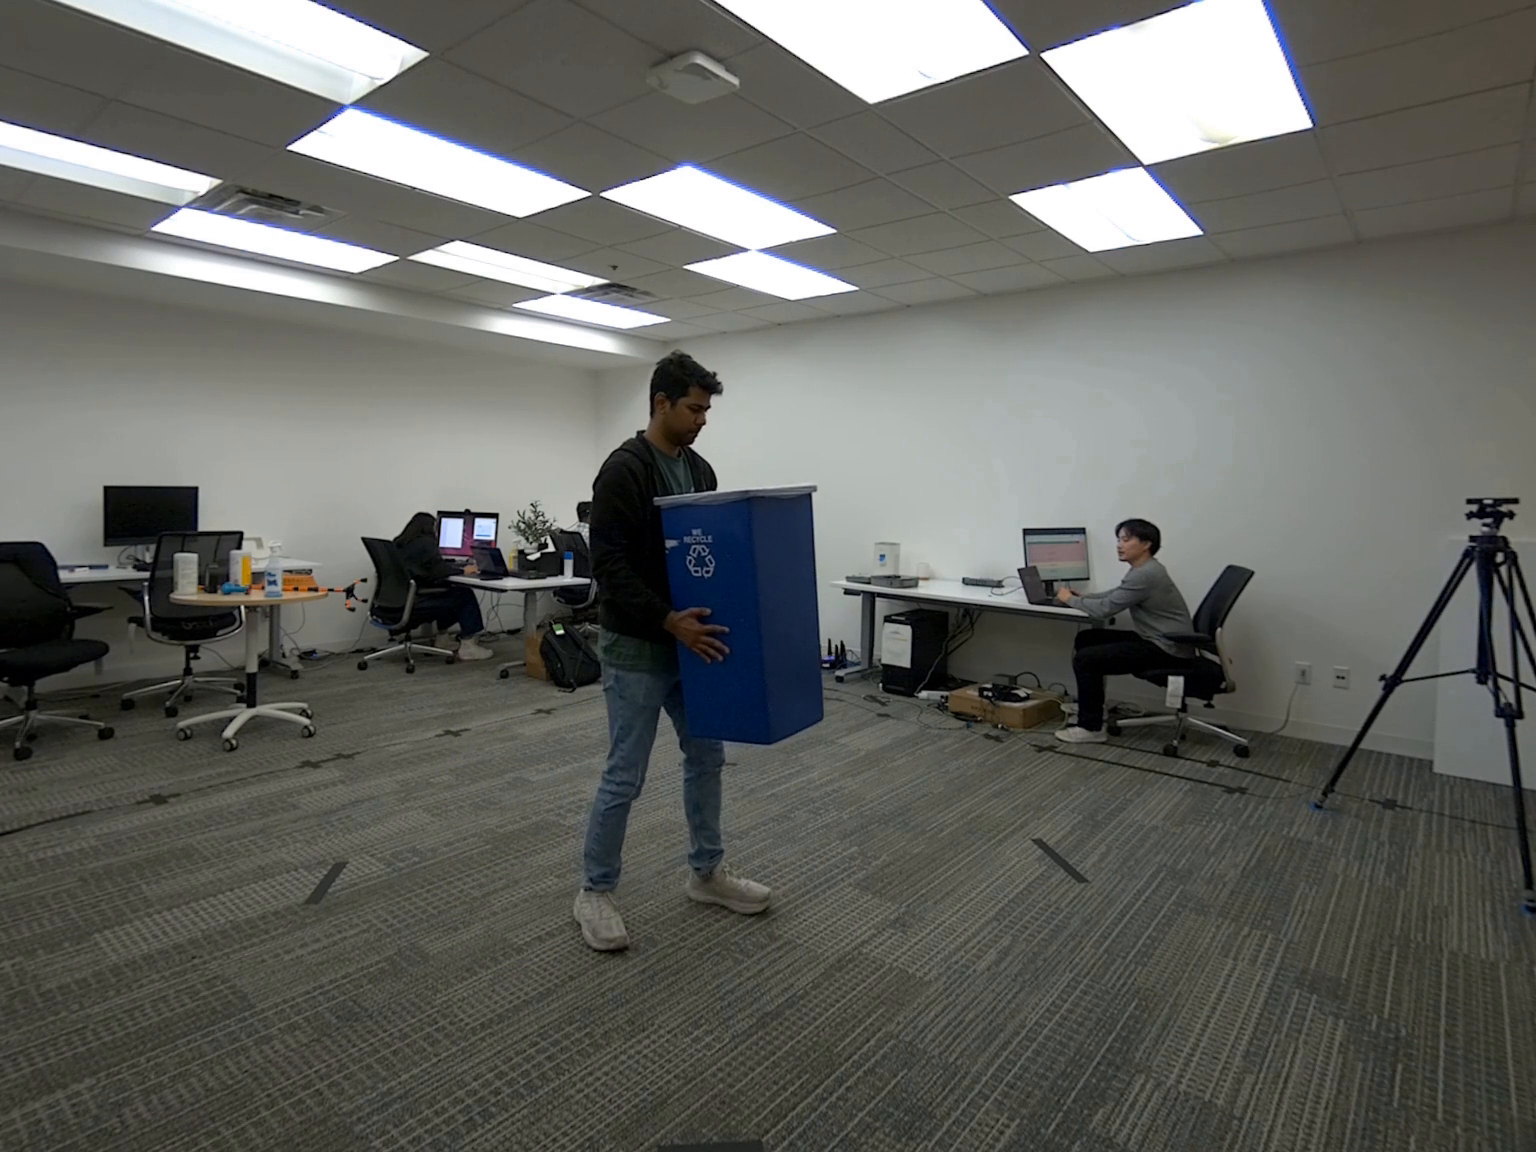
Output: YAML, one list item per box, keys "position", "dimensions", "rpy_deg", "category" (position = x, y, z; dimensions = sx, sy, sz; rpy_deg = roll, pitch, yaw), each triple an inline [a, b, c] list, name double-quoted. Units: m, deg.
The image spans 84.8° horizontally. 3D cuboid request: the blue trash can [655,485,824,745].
- position: [-0.070, 0.101, 2.536]
  dimensions: [0.385, 0.712, 0.368]
  rpy_deg: [-3, 3, 37]
  category: "blue trash can"
